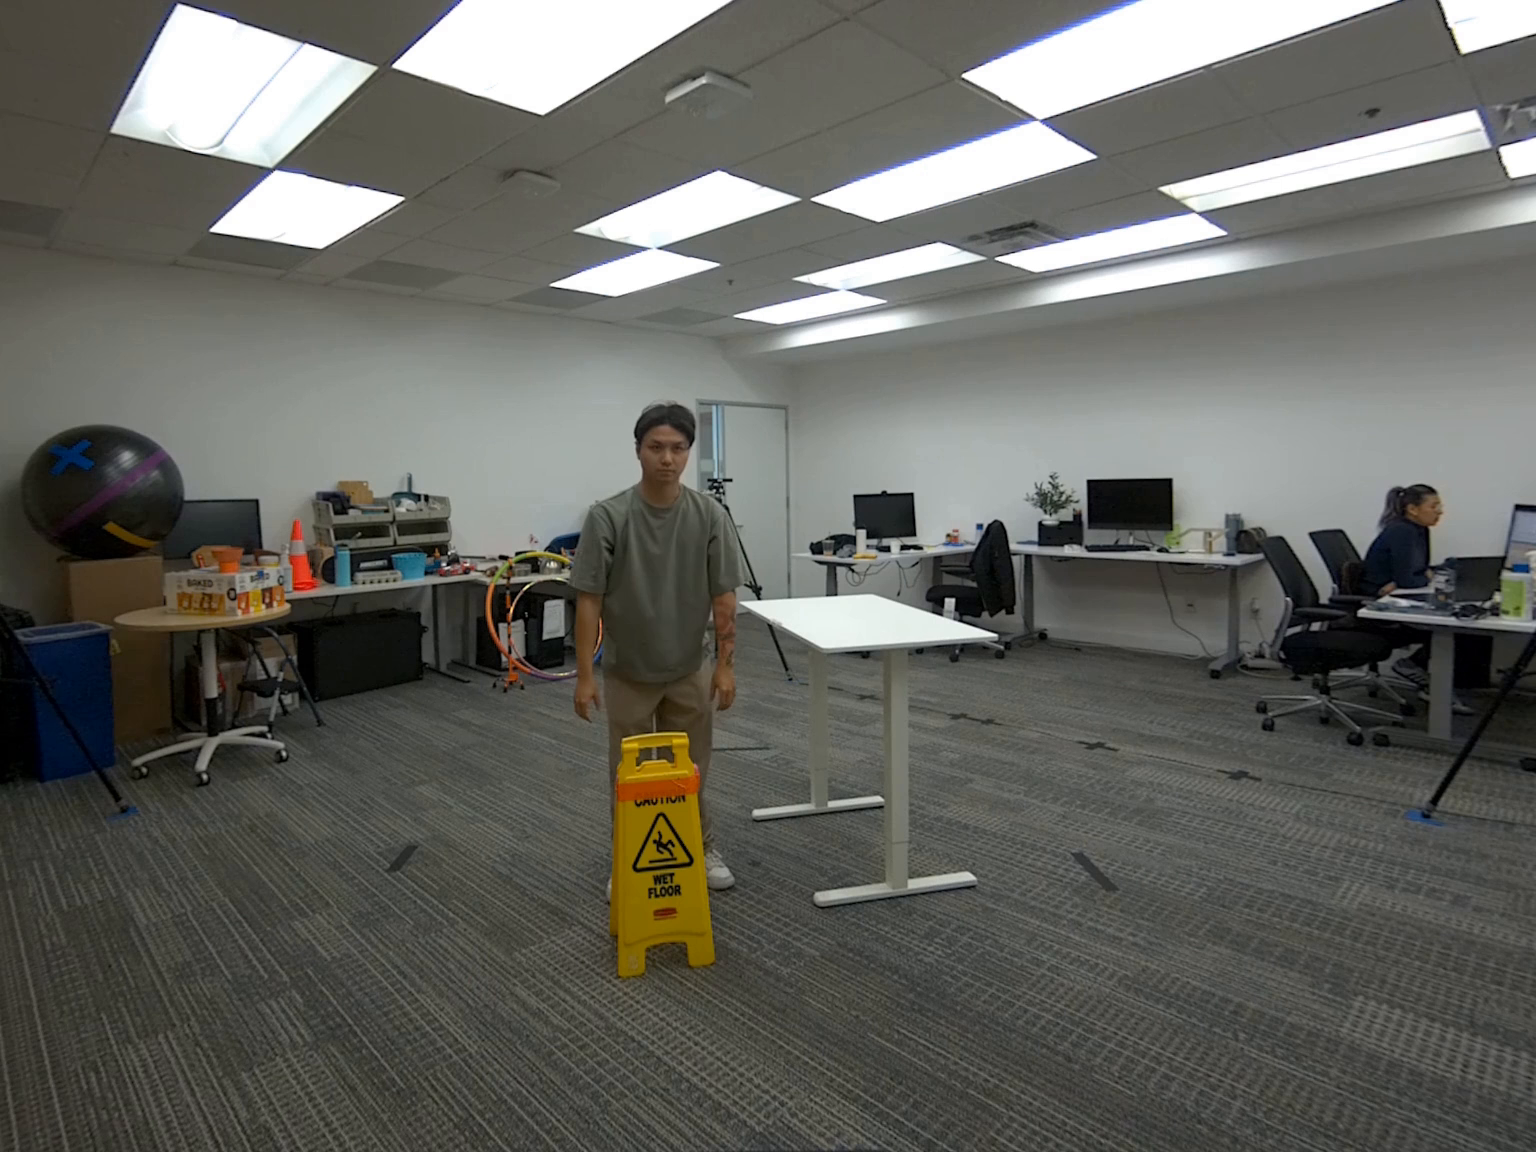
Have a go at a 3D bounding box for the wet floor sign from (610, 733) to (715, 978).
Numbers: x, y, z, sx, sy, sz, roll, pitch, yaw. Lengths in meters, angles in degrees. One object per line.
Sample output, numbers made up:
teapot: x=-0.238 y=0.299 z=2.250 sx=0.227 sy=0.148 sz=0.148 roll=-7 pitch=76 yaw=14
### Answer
wet floor sign: x=-0.326 y=0.792 z=2.532 sx=0.279 sy=0.642 sz=0.295 roll=-4 pitch=6 yaw=-14
